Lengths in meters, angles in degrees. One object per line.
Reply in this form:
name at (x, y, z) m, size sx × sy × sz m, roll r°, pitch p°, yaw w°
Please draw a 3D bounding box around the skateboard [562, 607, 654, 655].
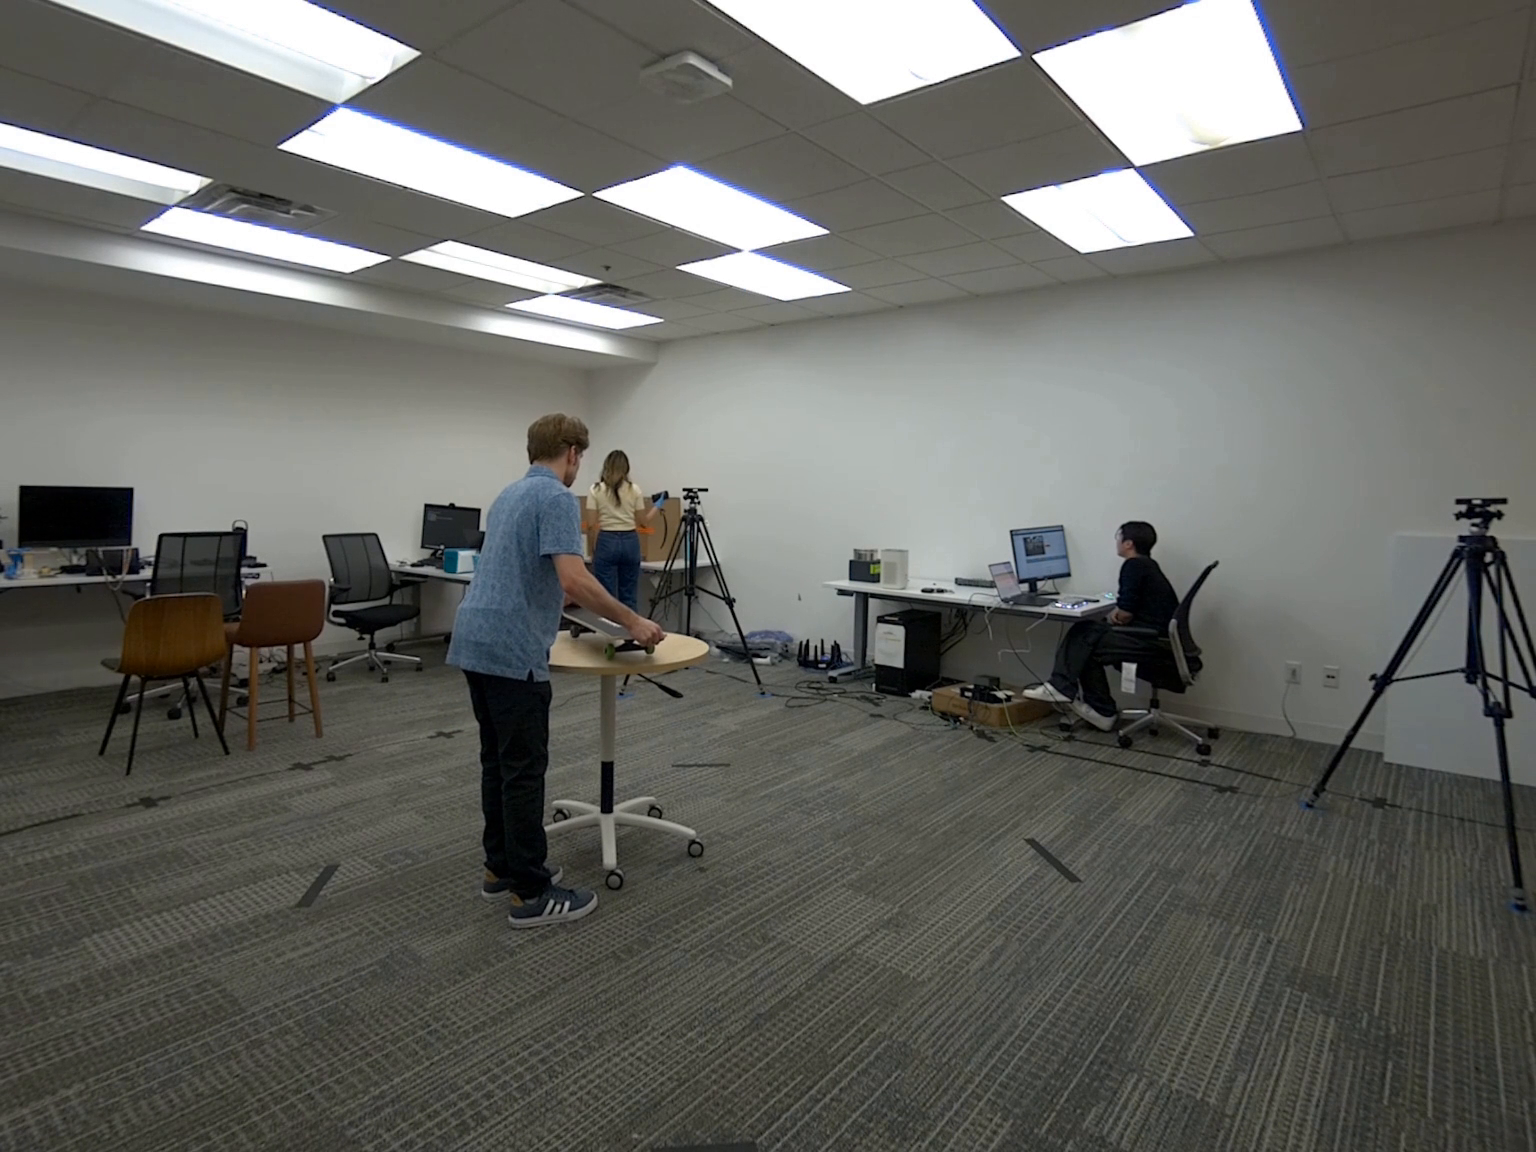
skateboard at (-0.609, 0.204, 3.211) m, size 0.188 × 0.110 × 0.810 m, roll -3°, pitch 8°, yaw -30°
